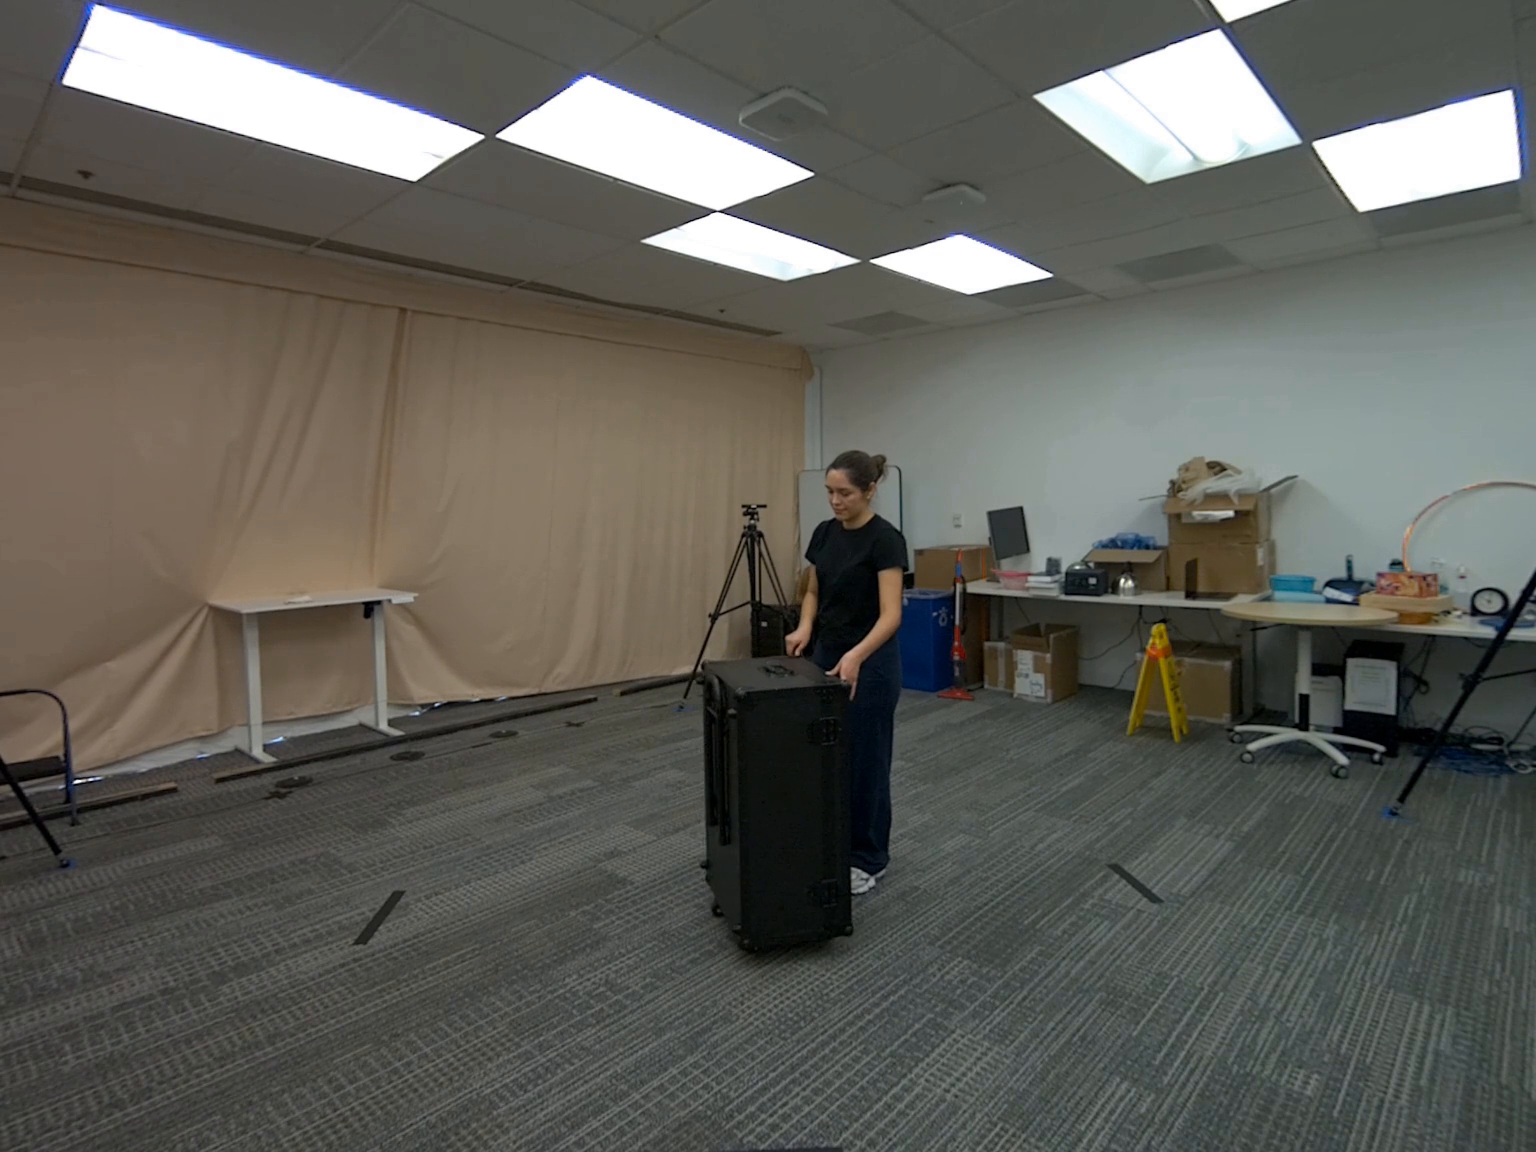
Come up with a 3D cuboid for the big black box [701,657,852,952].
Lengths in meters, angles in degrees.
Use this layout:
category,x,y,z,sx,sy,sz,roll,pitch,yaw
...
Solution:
category,x,y,z,sx,sy,sz,roll,pitch,yaw
big black box,0.022,0.735,2.747,0.390,0.859,0.531,-3,4,-16
